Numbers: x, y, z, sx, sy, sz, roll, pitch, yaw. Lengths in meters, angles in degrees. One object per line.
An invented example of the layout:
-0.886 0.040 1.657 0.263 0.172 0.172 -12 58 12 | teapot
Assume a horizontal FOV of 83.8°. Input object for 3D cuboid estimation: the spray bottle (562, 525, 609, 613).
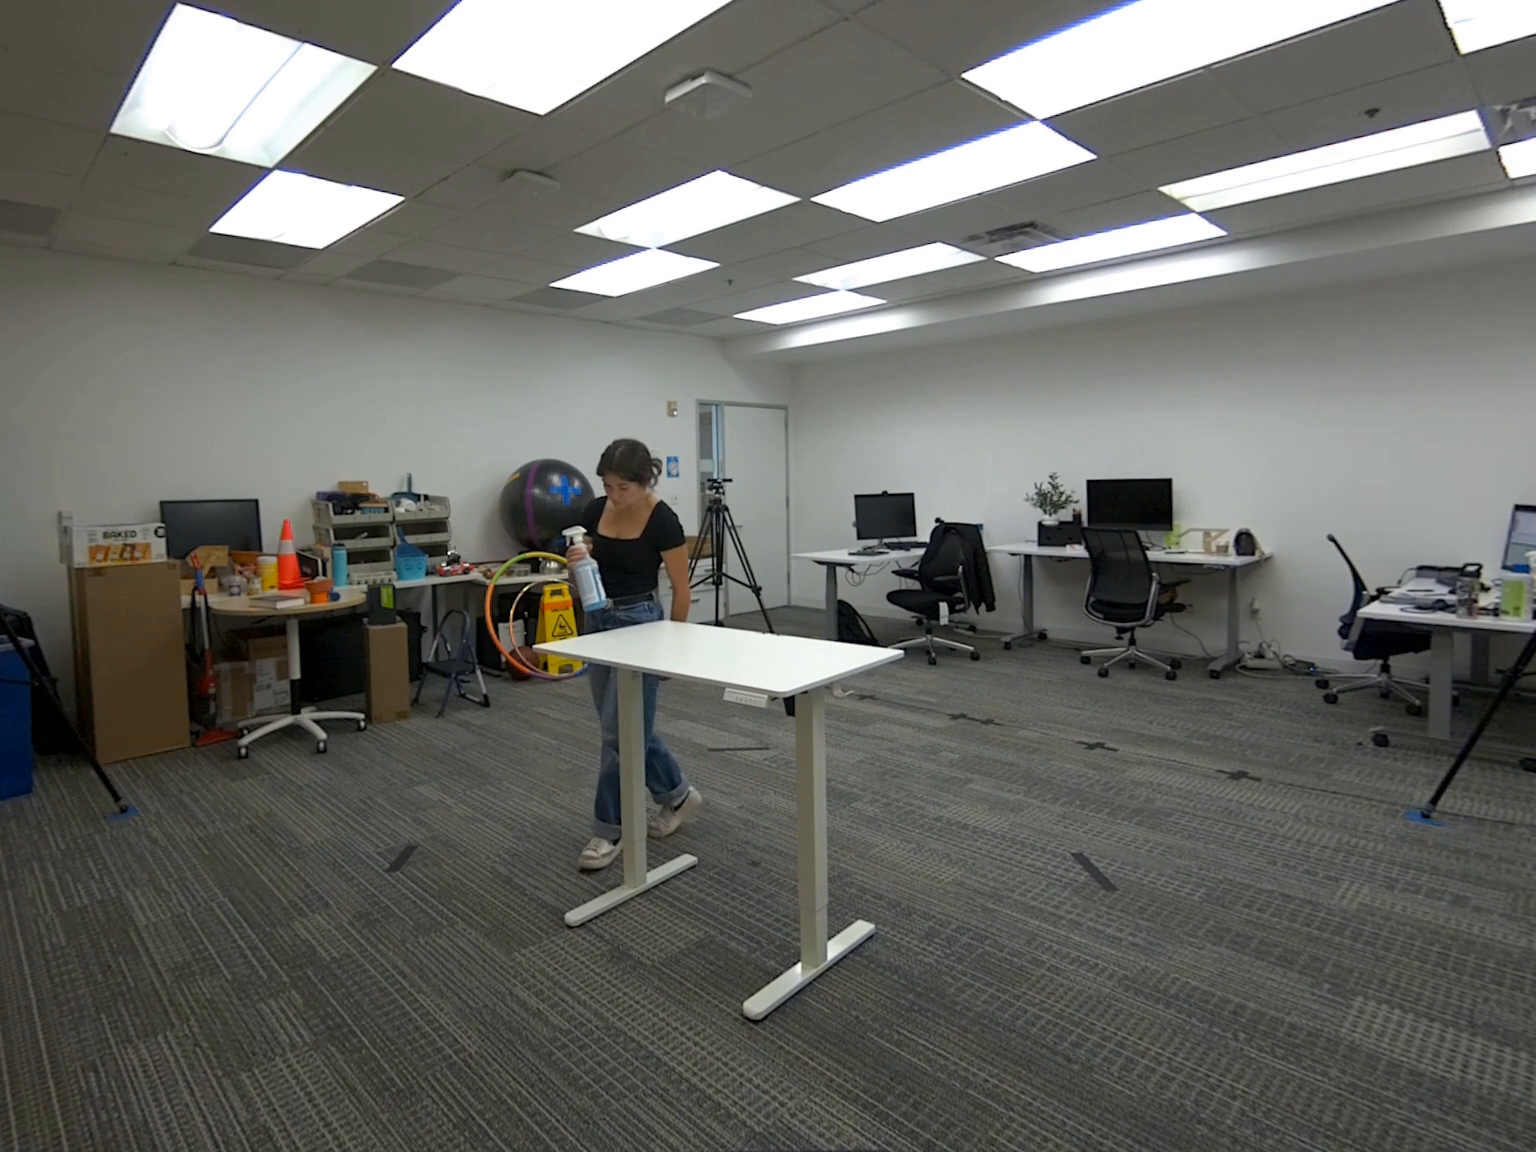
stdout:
-0.645 -0.030 2.975 0.085 0.300 0.091 -8 -11 -42 | spray bottle
